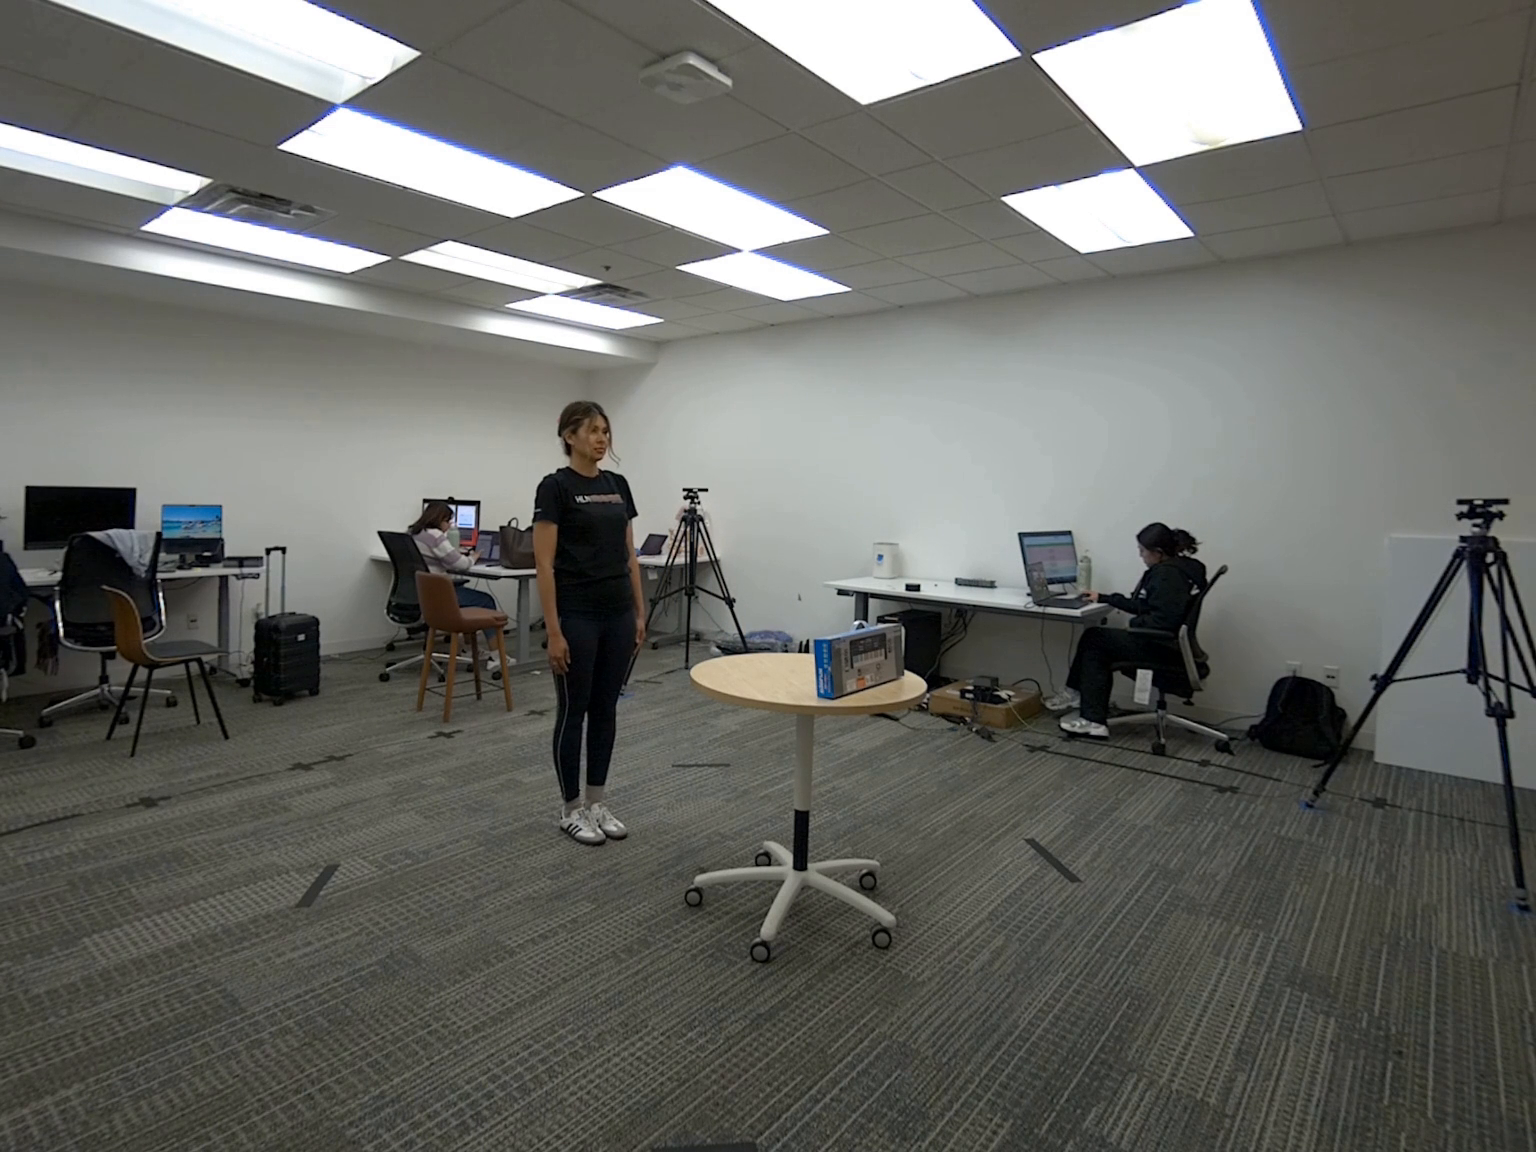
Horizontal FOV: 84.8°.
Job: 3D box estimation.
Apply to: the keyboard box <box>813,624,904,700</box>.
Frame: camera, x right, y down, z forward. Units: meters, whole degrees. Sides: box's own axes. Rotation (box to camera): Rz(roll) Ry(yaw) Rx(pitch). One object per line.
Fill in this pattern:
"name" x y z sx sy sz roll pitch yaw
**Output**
"keyboard box" 0.286 0.257 2.653 0.061 0.176 0.424 -3 1 38
